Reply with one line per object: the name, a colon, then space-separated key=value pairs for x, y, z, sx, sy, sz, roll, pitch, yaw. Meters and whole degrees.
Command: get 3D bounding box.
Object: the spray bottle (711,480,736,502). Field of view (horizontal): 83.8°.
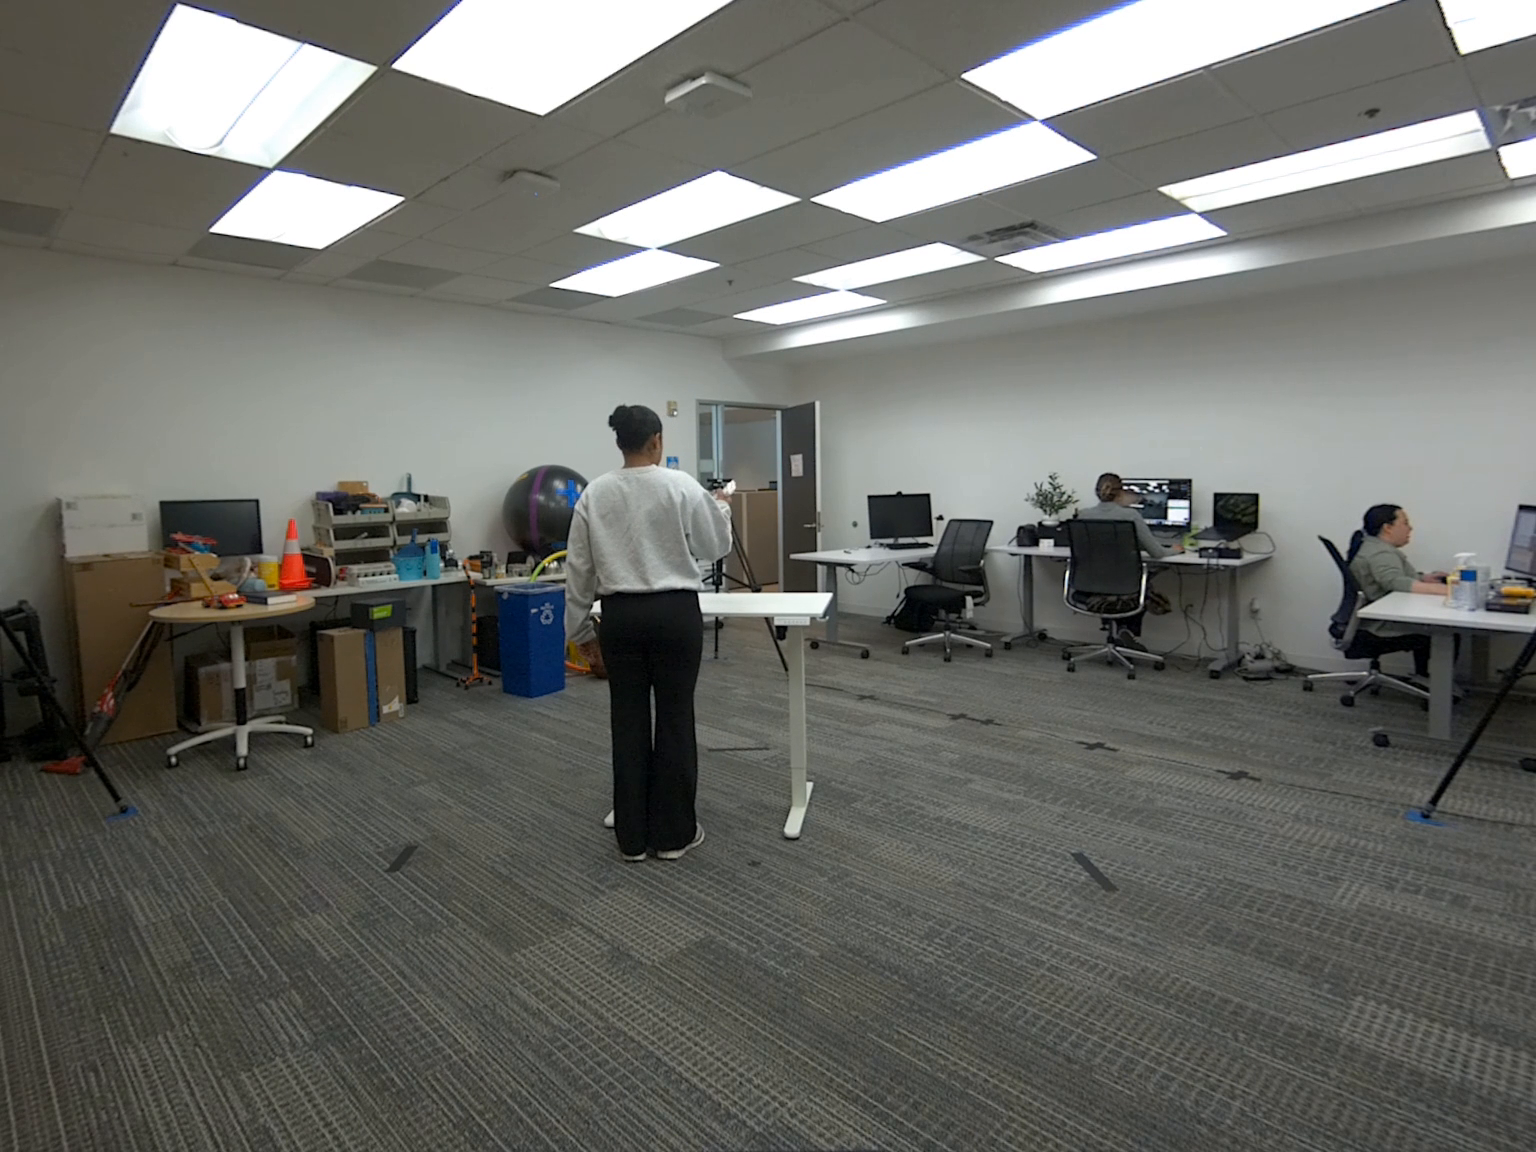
spray bottle: x=-0.251 y=-0.264 z=3.449 sx=0.298 sy=0.087 sz=0.089 roll=-38 pitch=-1 yaw=13
